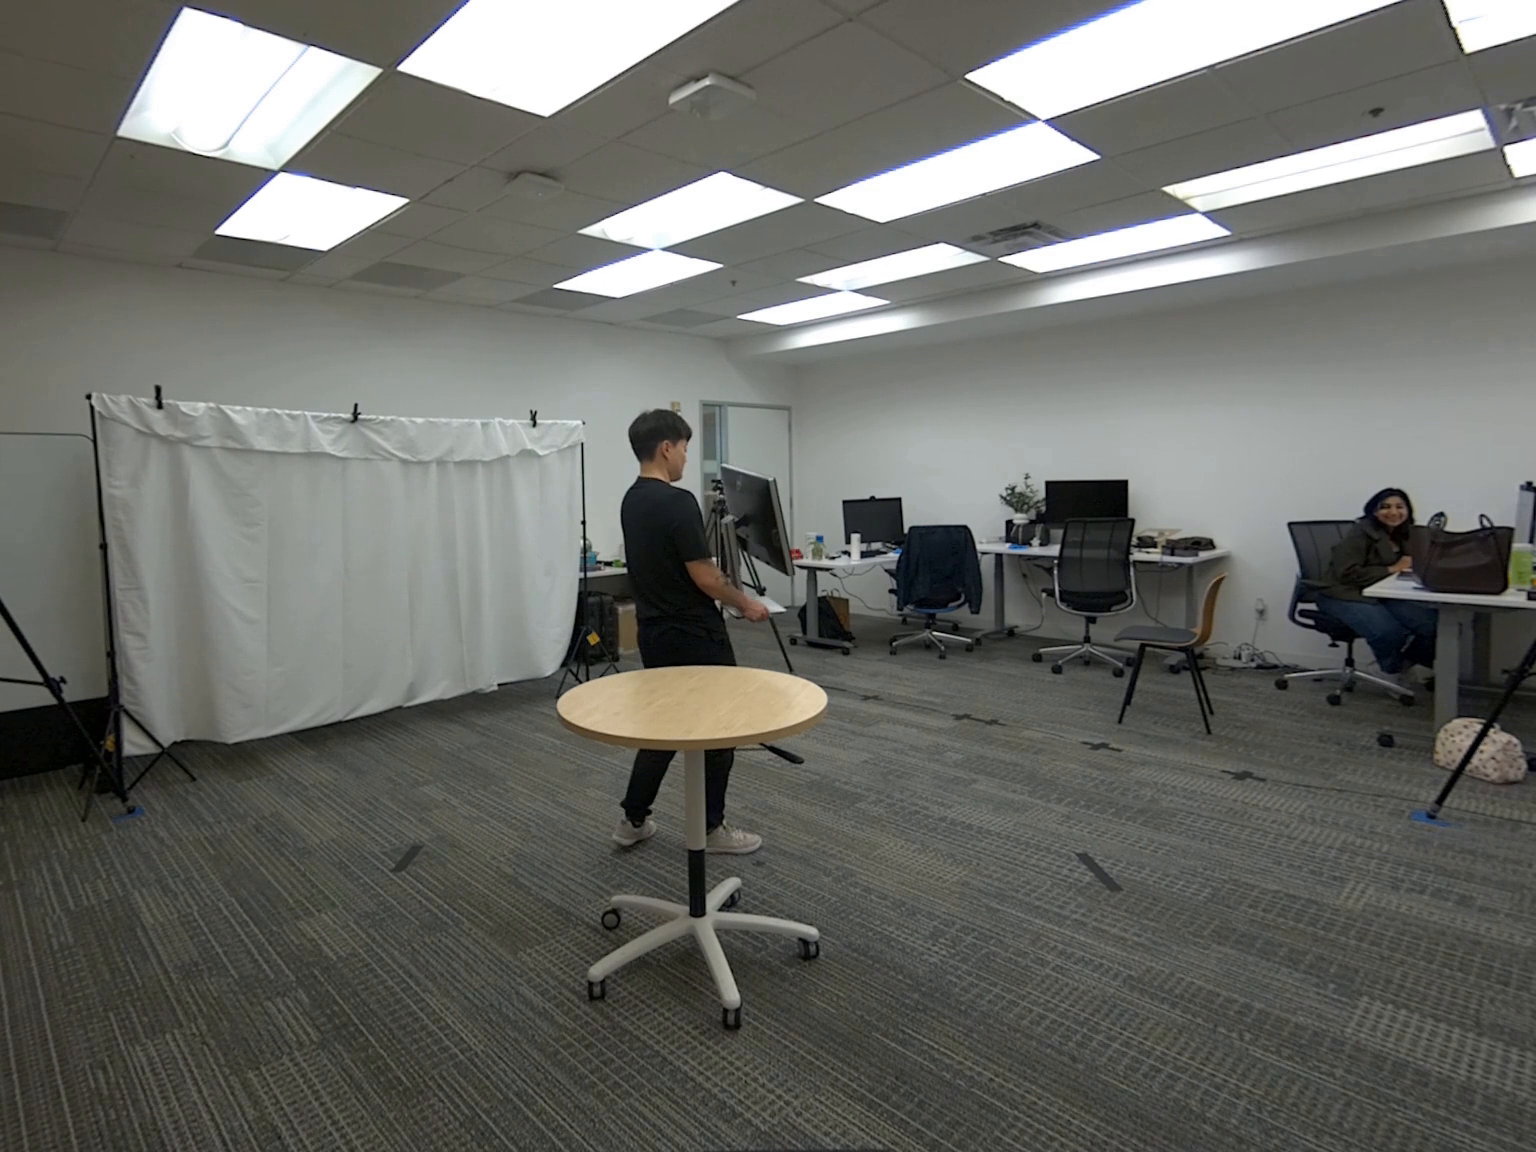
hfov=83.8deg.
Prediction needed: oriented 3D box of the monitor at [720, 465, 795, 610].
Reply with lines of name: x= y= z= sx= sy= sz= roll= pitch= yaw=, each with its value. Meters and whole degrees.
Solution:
monitor: x=-0.079 y=-0.135 z=3.271 sx=0.184 sy=0.517 sz=0.554 roll=-6 pitch=13 yaw=-22
